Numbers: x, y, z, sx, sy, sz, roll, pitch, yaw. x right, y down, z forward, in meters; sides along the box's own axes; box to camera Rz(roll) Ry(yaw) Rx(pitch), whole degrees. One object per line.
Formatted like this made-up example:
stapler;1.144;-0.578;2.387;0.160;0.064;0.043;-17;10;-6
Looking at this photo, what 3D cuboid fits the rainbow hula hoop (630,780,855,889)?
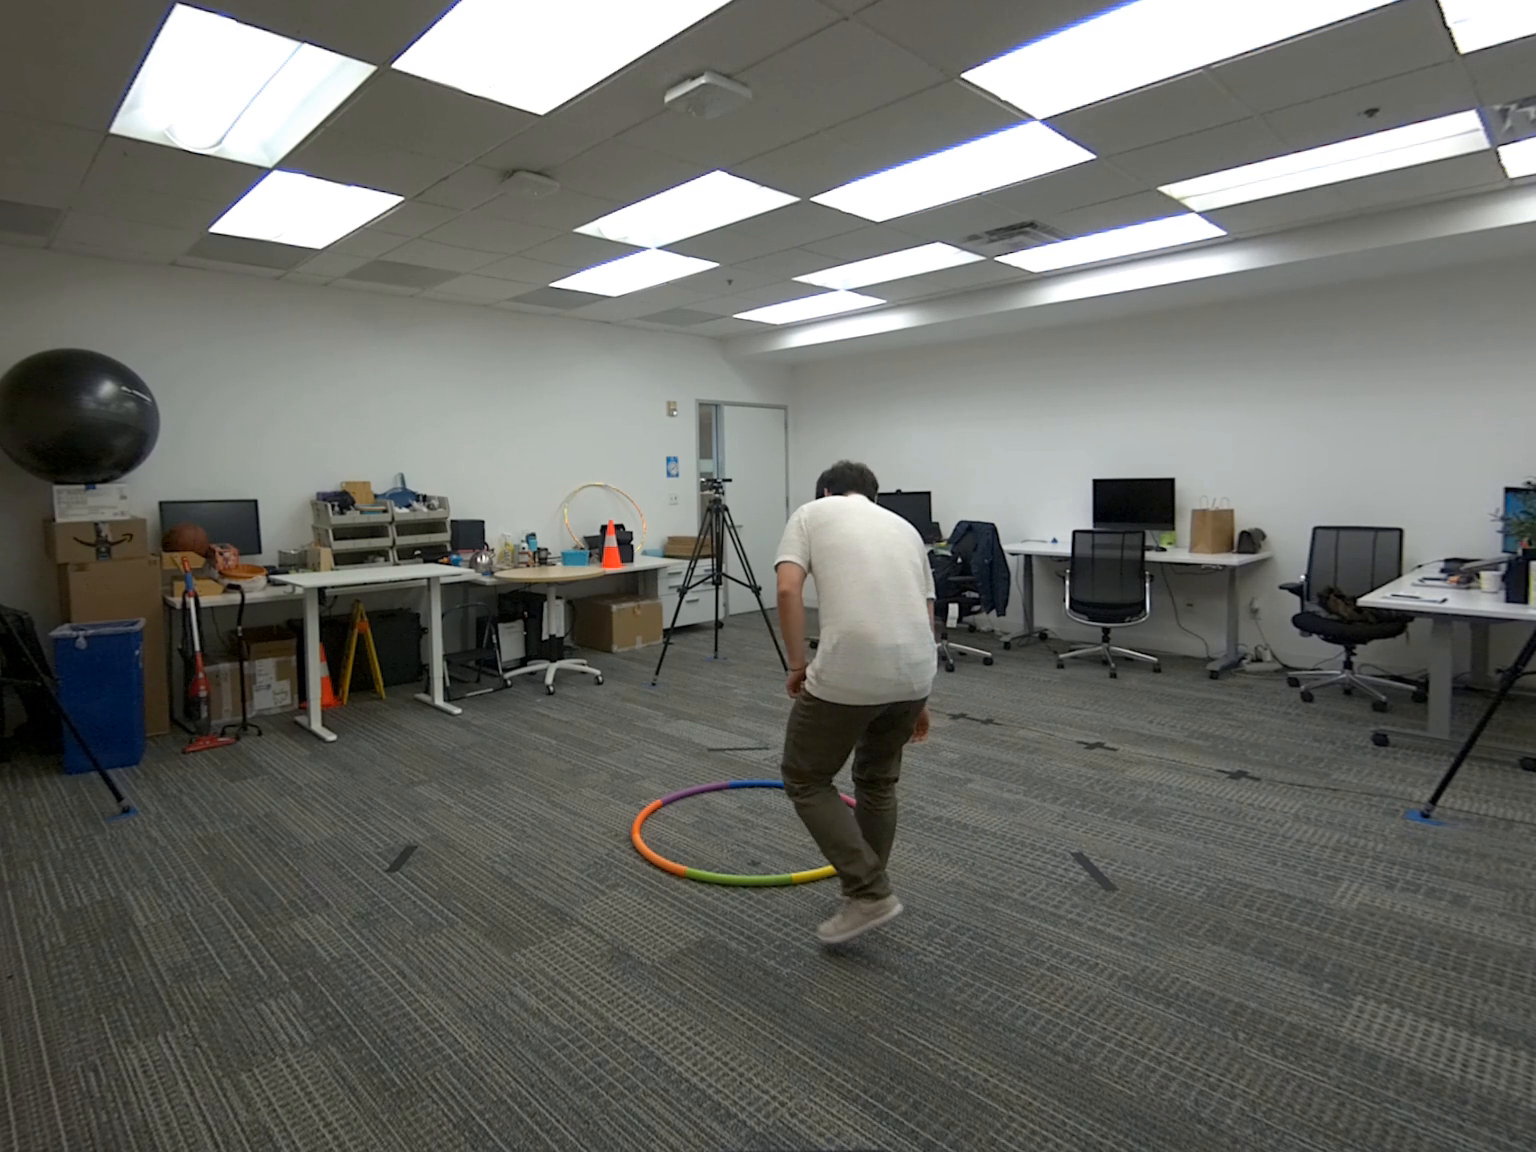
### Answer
rainbow hula hoop;-0.048;0.983;3.401;0.978;0.035;0.984;-1;7;-2
